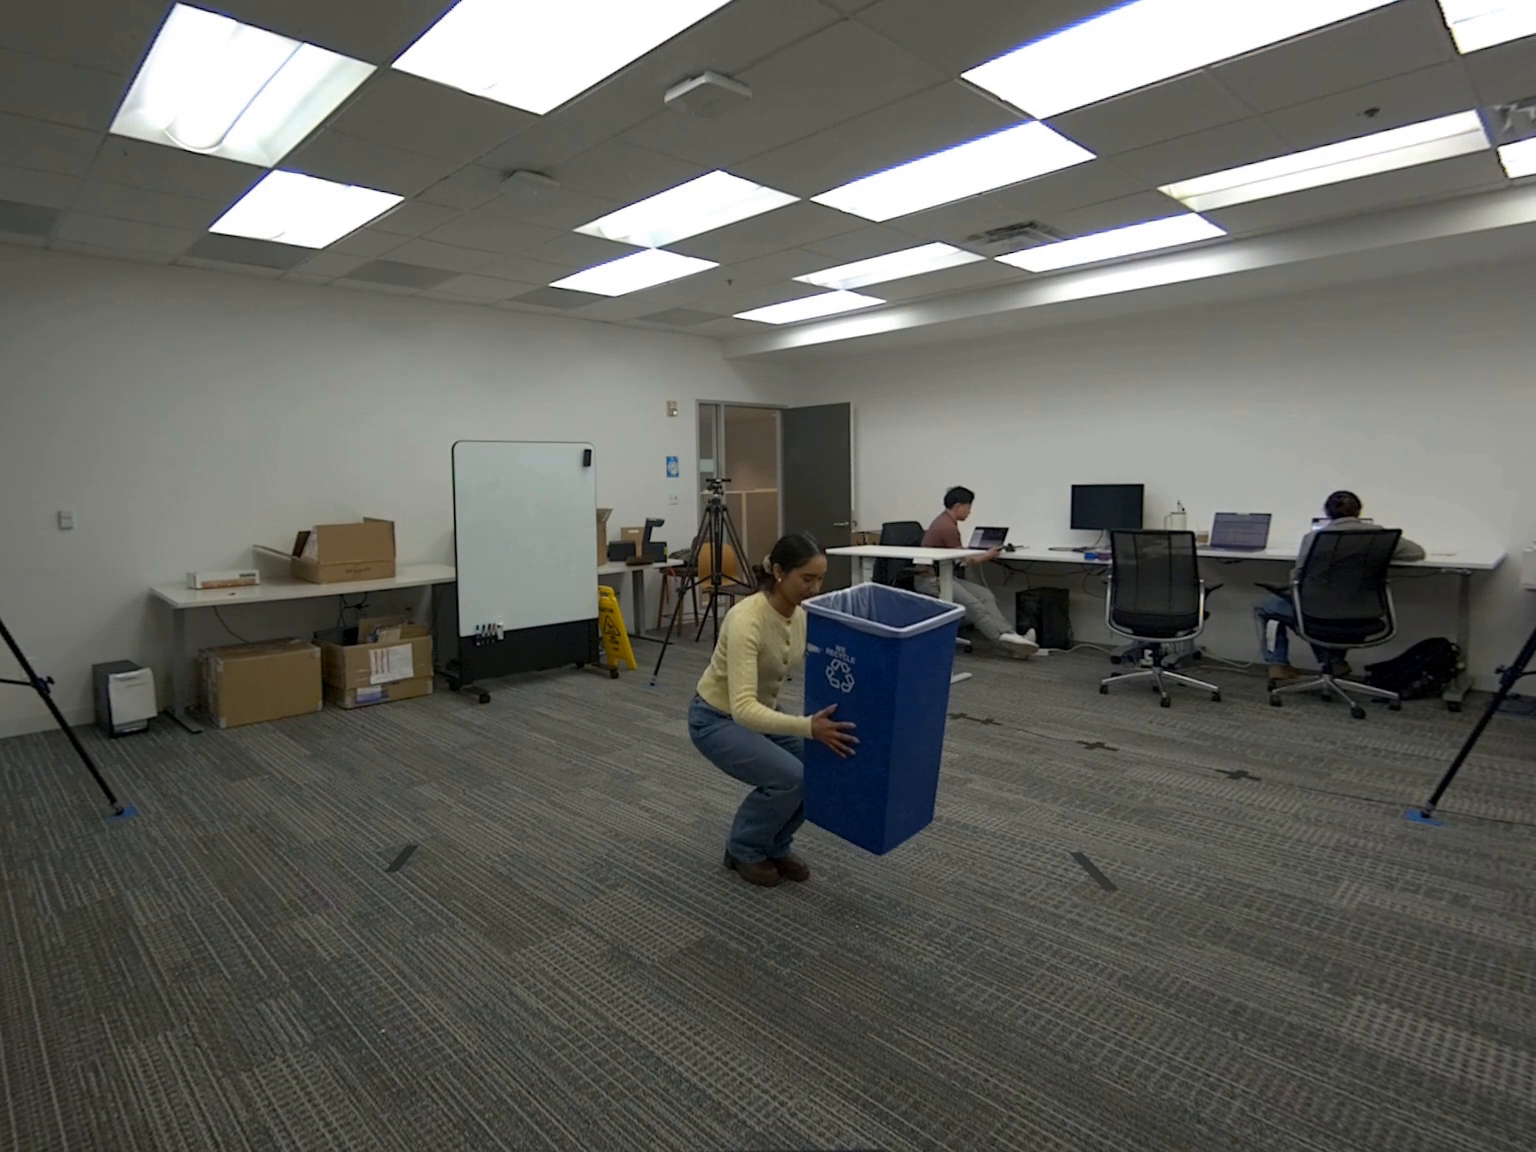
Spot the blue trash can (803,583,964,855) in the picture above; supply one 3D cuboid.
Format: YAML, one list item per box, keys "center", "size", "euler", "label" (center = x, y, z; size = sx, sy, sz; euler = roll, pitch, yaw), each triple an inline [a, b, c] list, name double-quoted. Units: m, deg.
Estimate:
- center: [0.346, 0.430, 2.632]
  size: [0.387, 0.706, 0.369]
  euler: [12, 16, 42]
  label: "blue trash can"
